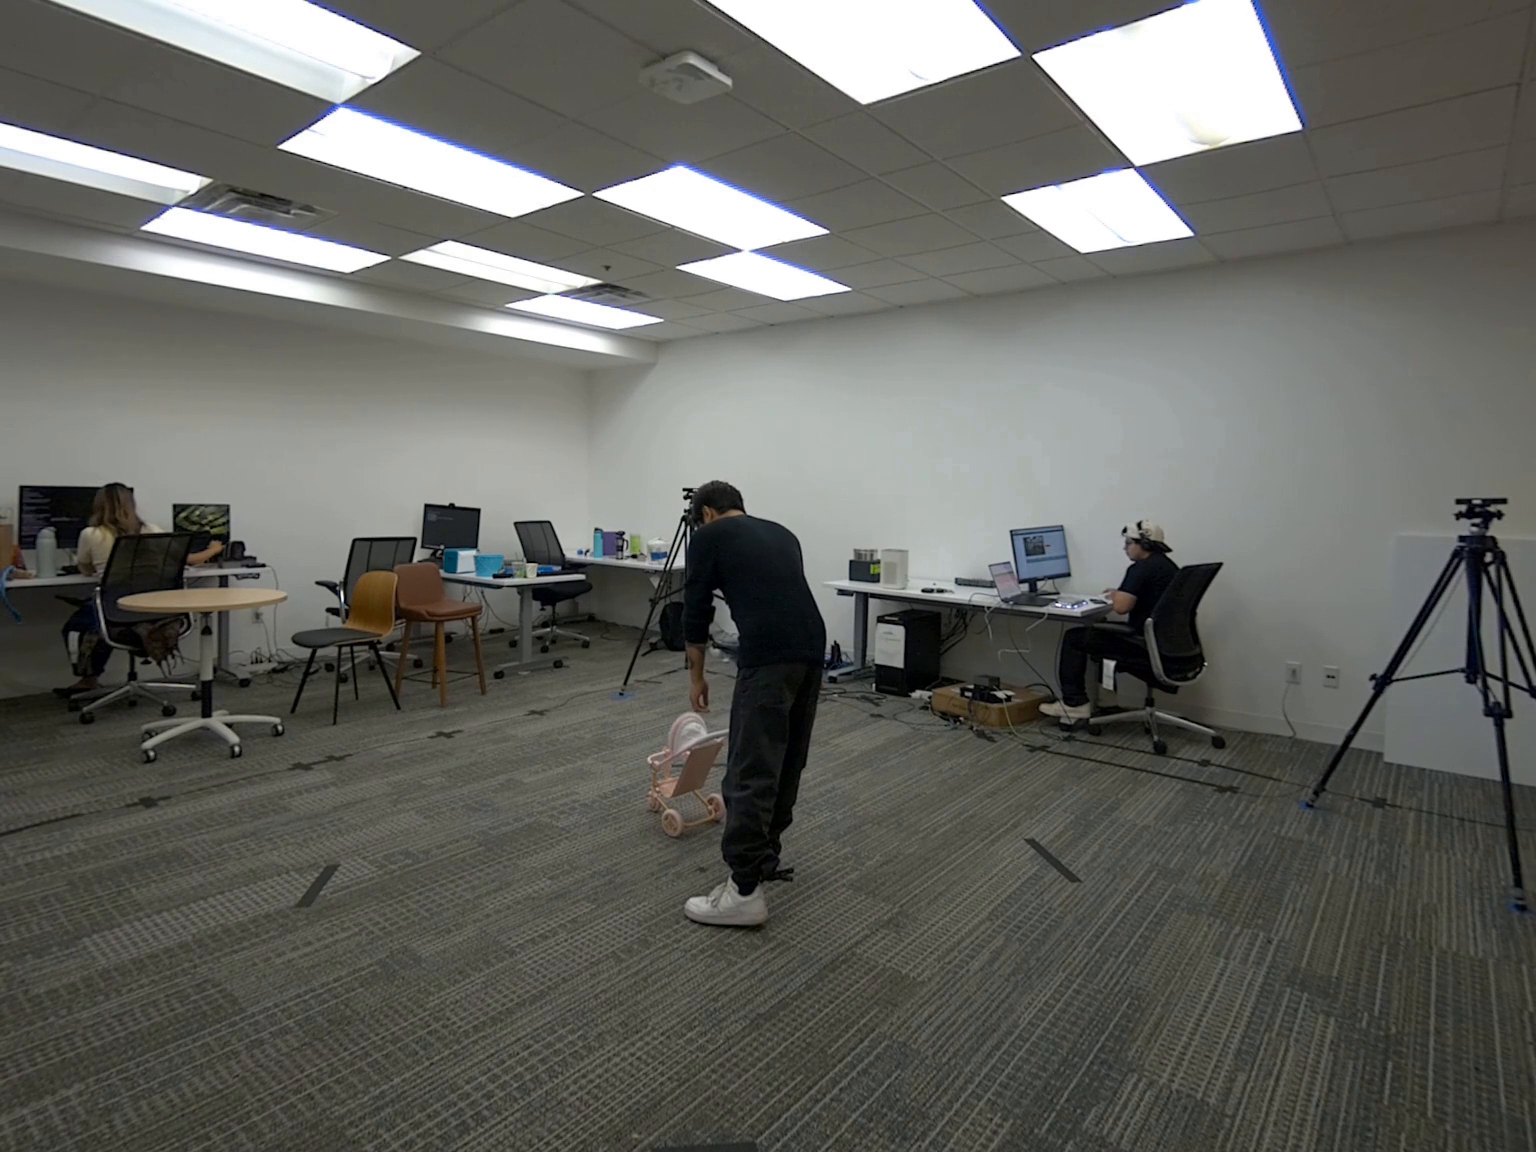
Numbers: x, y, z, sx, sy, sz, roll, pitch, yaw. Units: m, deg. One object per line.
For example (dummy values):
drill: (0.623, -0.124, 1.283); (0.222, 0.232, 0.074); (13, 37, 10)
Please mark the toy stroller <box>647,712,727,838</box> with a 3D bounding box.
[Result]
toy stroller: (-0.356, 0.801, 3.527); (0.273, 0.529, 0.355); (-2, 20, -43)
